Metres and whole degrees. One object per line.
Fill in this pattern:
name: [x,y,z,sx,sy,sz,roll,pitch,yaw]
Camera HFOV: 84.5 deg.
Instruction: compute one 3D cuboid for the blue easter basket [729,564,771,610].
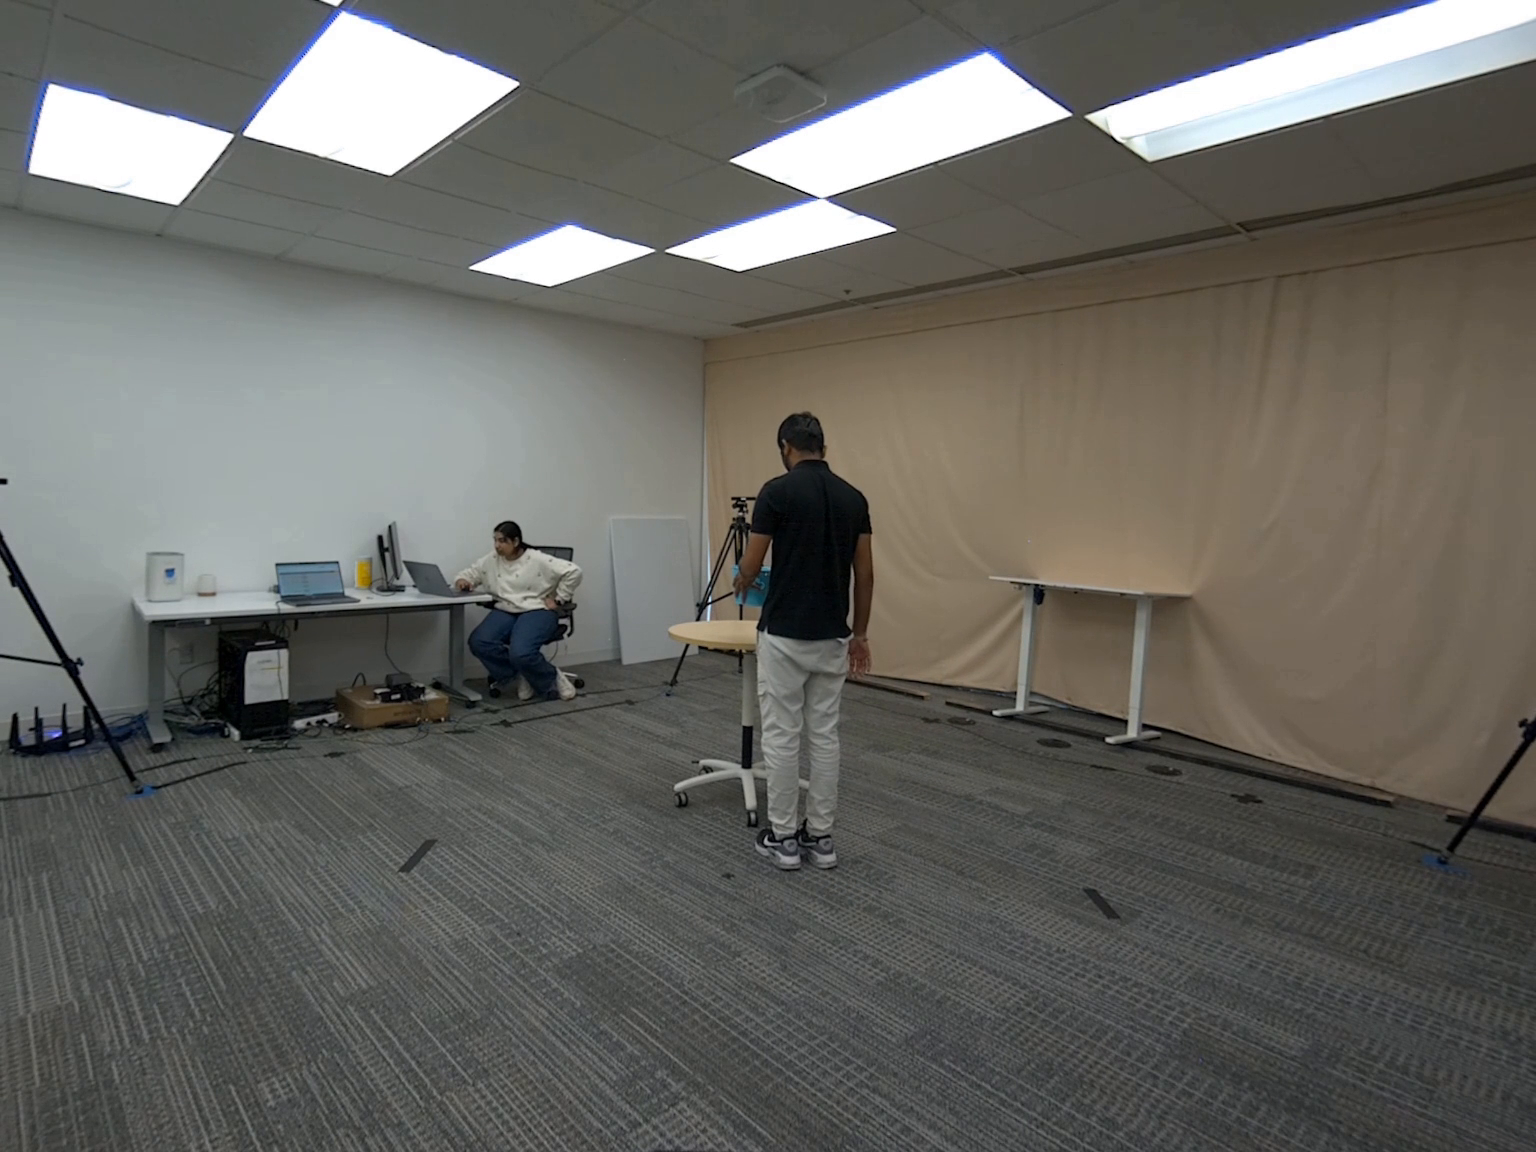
blue easter basket: [-0.041,0.044,3.585,0.243,0.155,0.244,3,5,-2]
